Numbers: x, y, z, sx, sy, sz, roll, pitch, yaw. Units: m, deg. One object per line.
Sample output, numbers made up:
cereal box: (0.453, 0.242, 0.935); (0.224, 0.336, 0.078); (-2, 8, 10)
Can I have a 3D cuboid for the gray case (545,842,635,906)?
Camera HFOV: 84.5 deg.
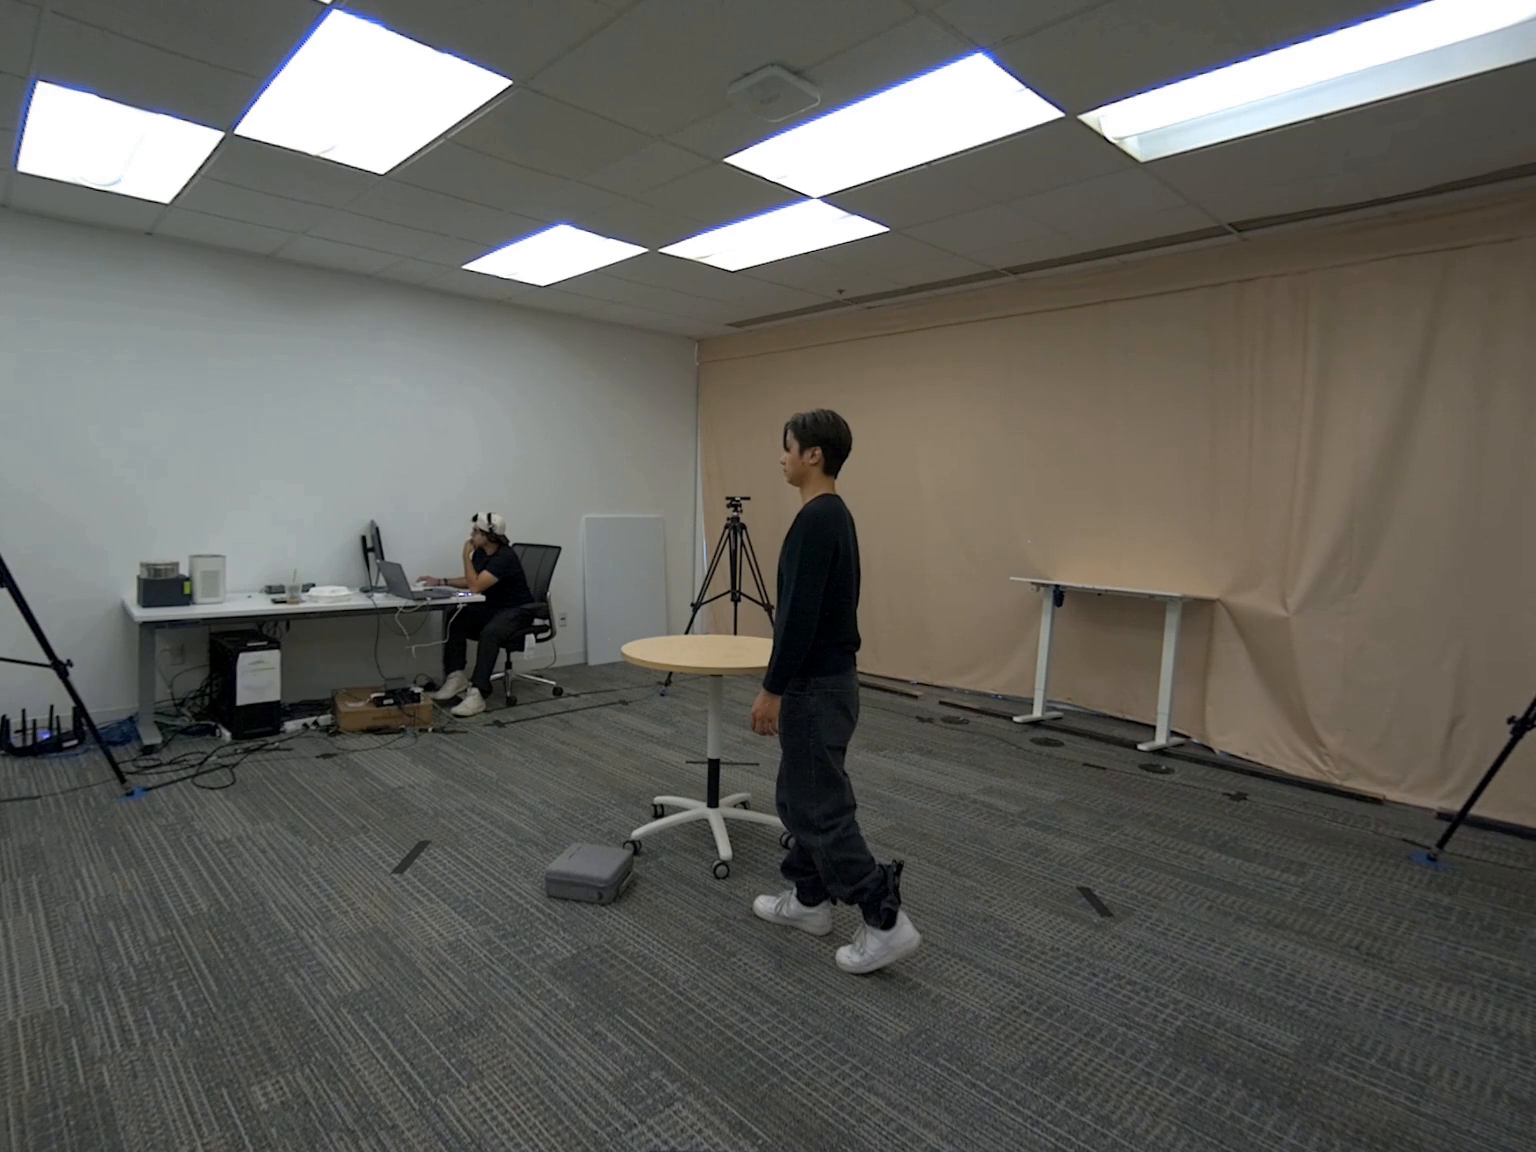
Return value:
gray case: (-0.630, 1.046, 2.993); (0.263, 0.104, 0.255); (4, 5, 13)
